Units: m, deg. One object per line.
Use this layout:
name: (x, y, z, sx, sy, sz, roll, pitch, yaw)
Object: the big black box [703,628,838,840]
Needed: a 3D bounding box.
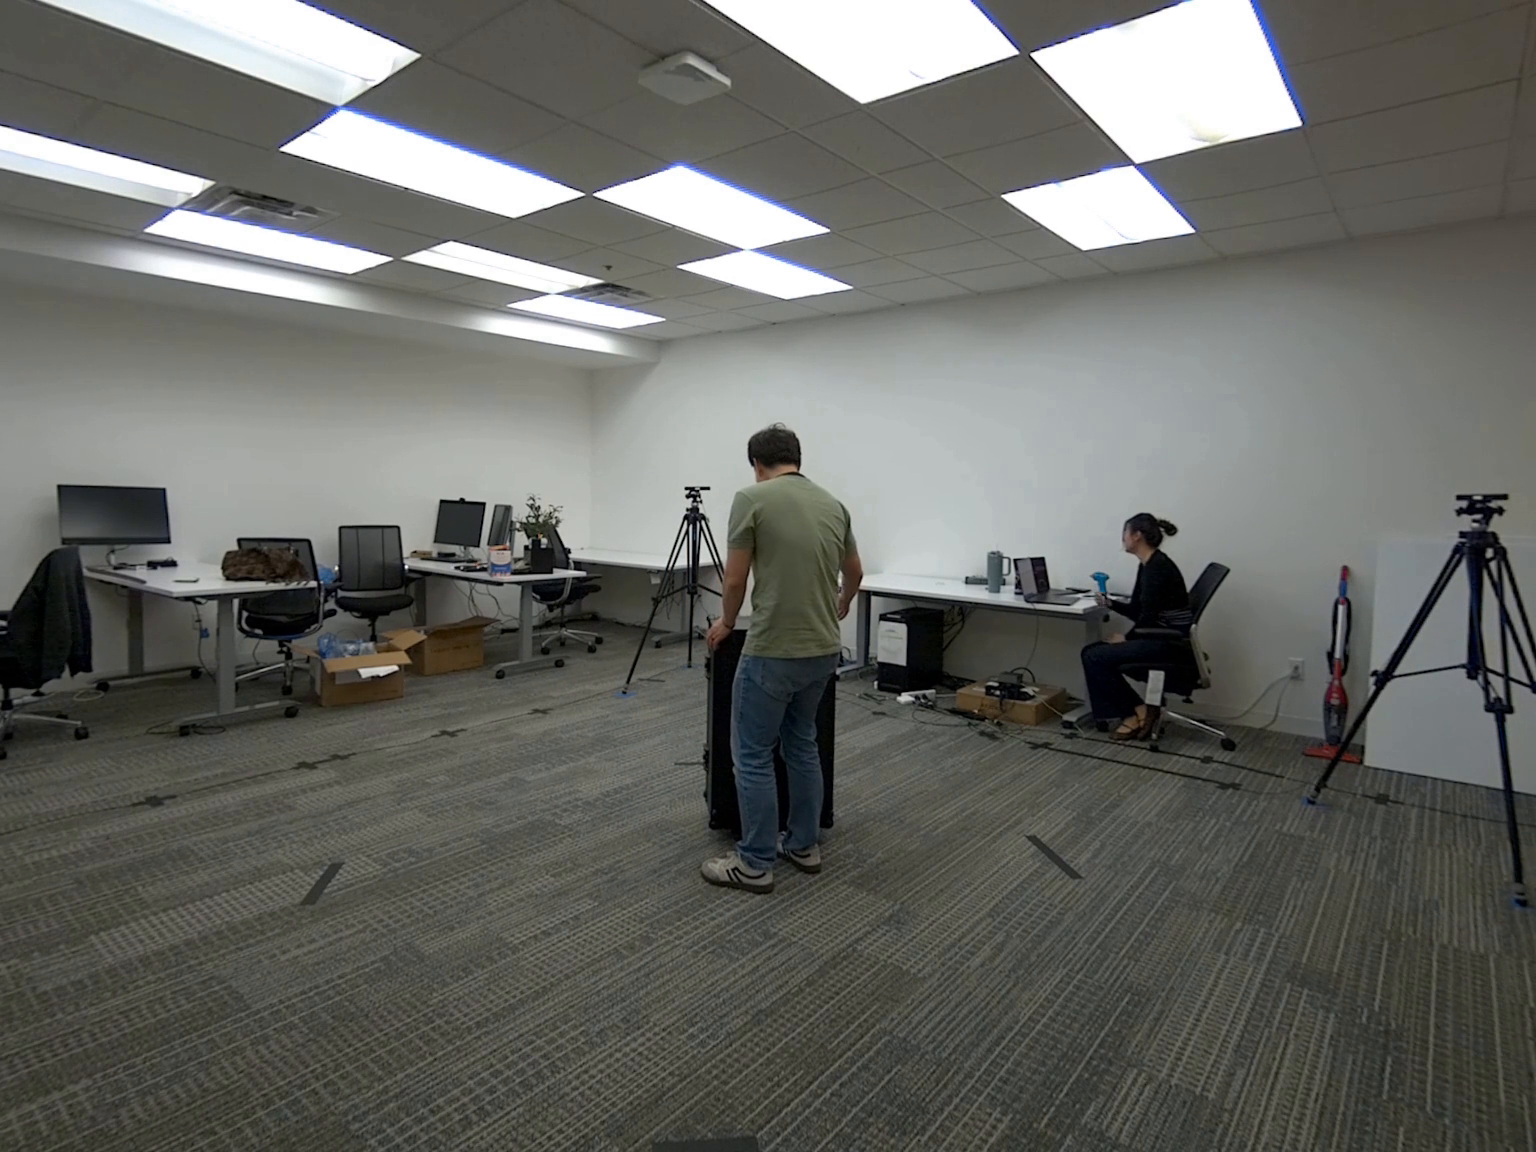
big black box: (-0.004, 0.607, 3.447, 0.520, 0.858, 0.399, 1, 5, -4)
